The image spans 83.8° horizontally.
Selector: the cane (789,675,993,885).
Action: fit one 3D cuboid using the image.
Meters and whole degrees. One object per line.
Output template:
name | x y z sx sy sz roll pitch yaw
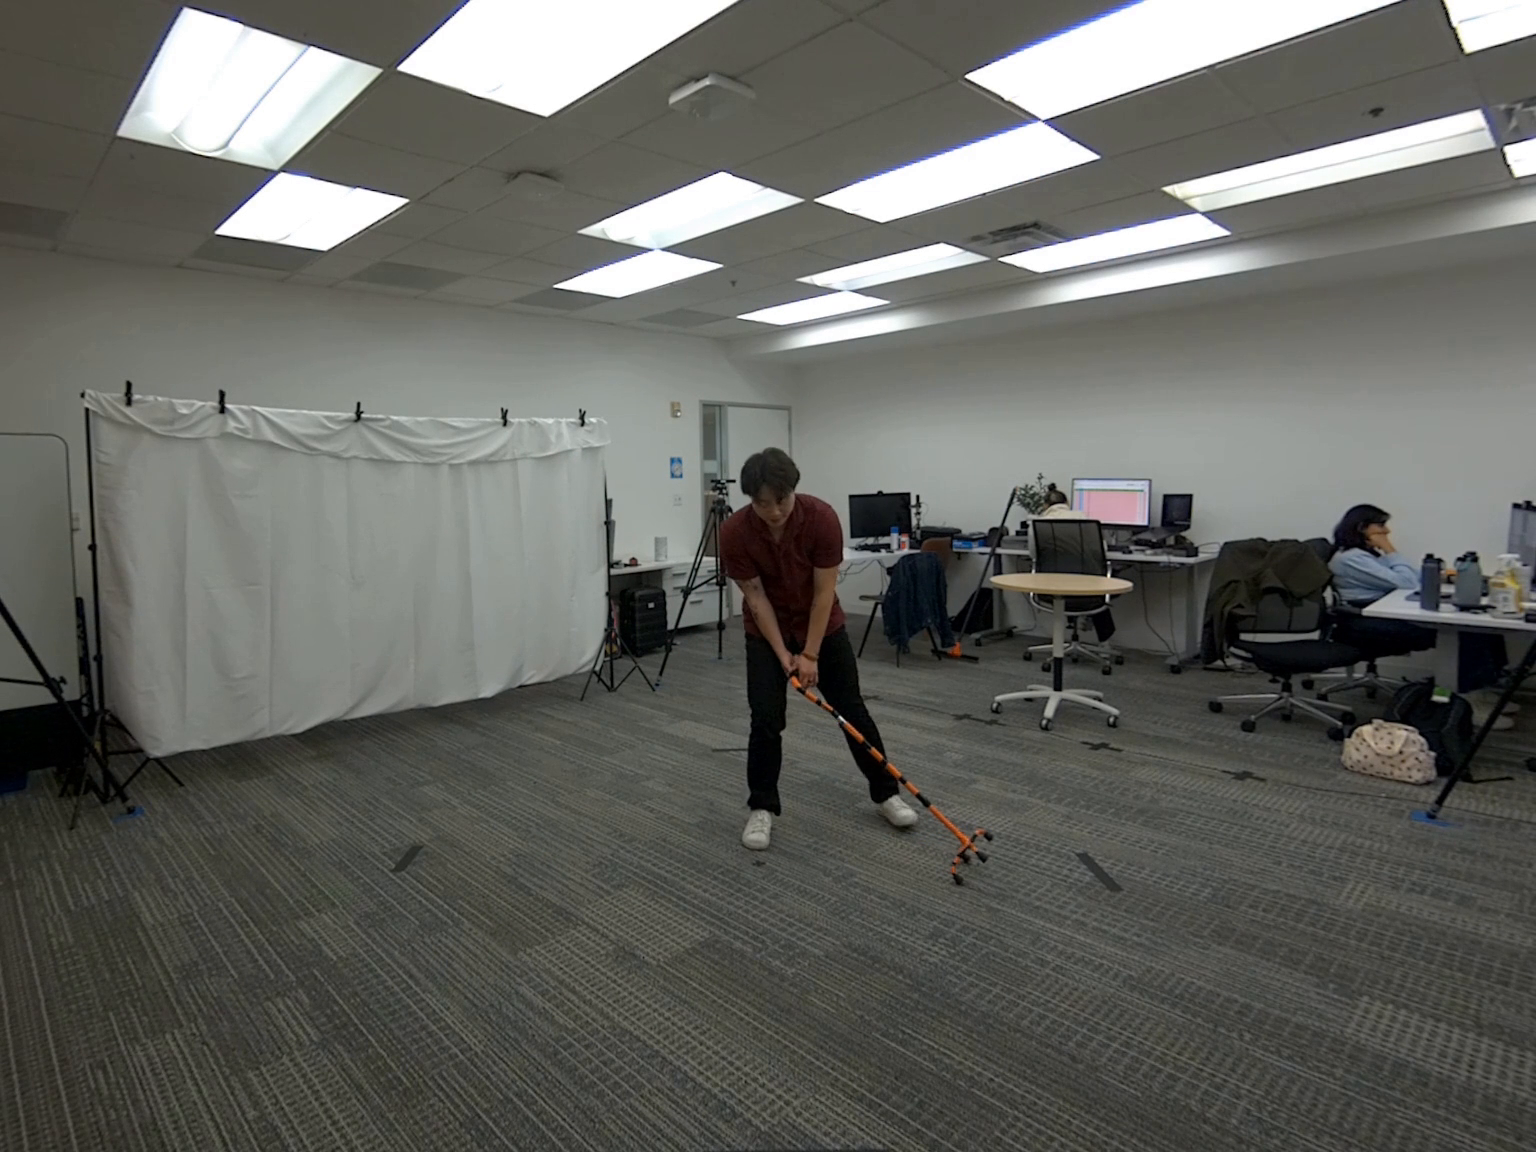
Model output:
cane | 0.413 0.687 3.101 0.926 0.151 0.203 44 19 15
